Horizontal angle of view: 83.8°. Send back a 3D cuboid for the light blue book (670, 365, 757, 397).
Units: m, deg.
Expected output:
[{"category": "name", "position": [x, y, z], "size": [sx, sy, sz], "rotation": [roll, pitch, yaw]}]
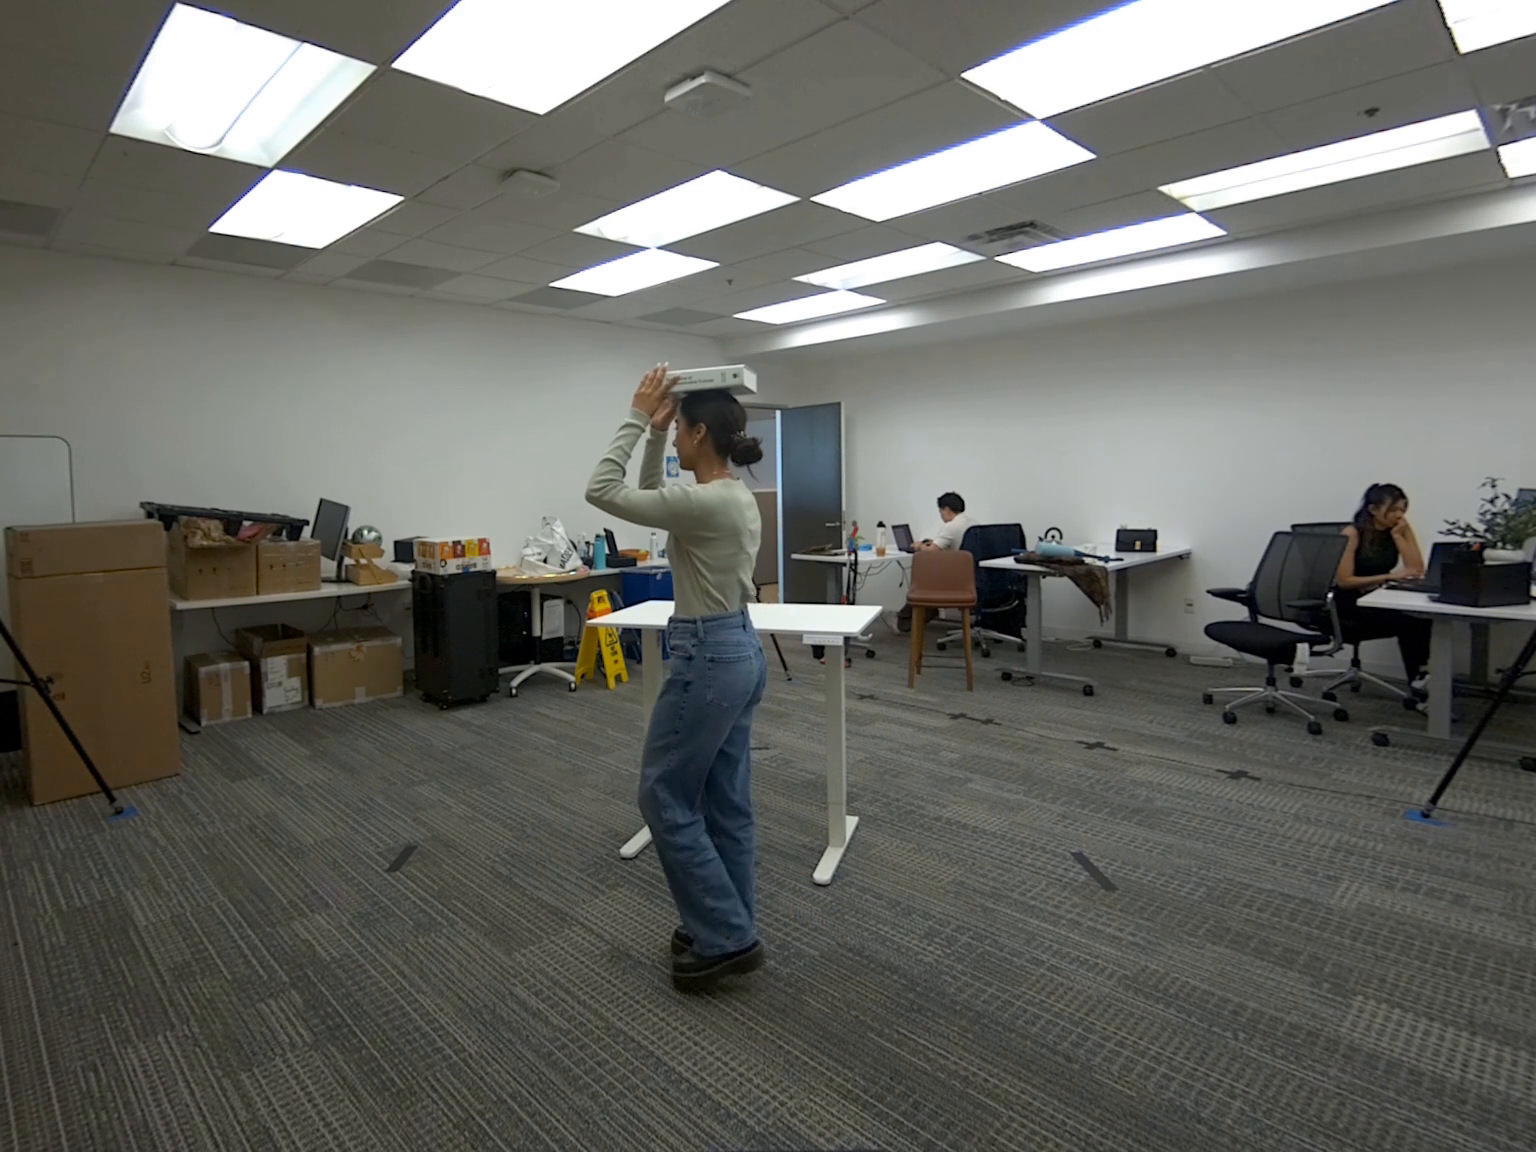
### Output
[{"category": "light blue book", "position": [-0.178, -0.545, 2.397], "size": [0.264, 0.059, 0.190], "rotation": [-3, 4, 12]}]
